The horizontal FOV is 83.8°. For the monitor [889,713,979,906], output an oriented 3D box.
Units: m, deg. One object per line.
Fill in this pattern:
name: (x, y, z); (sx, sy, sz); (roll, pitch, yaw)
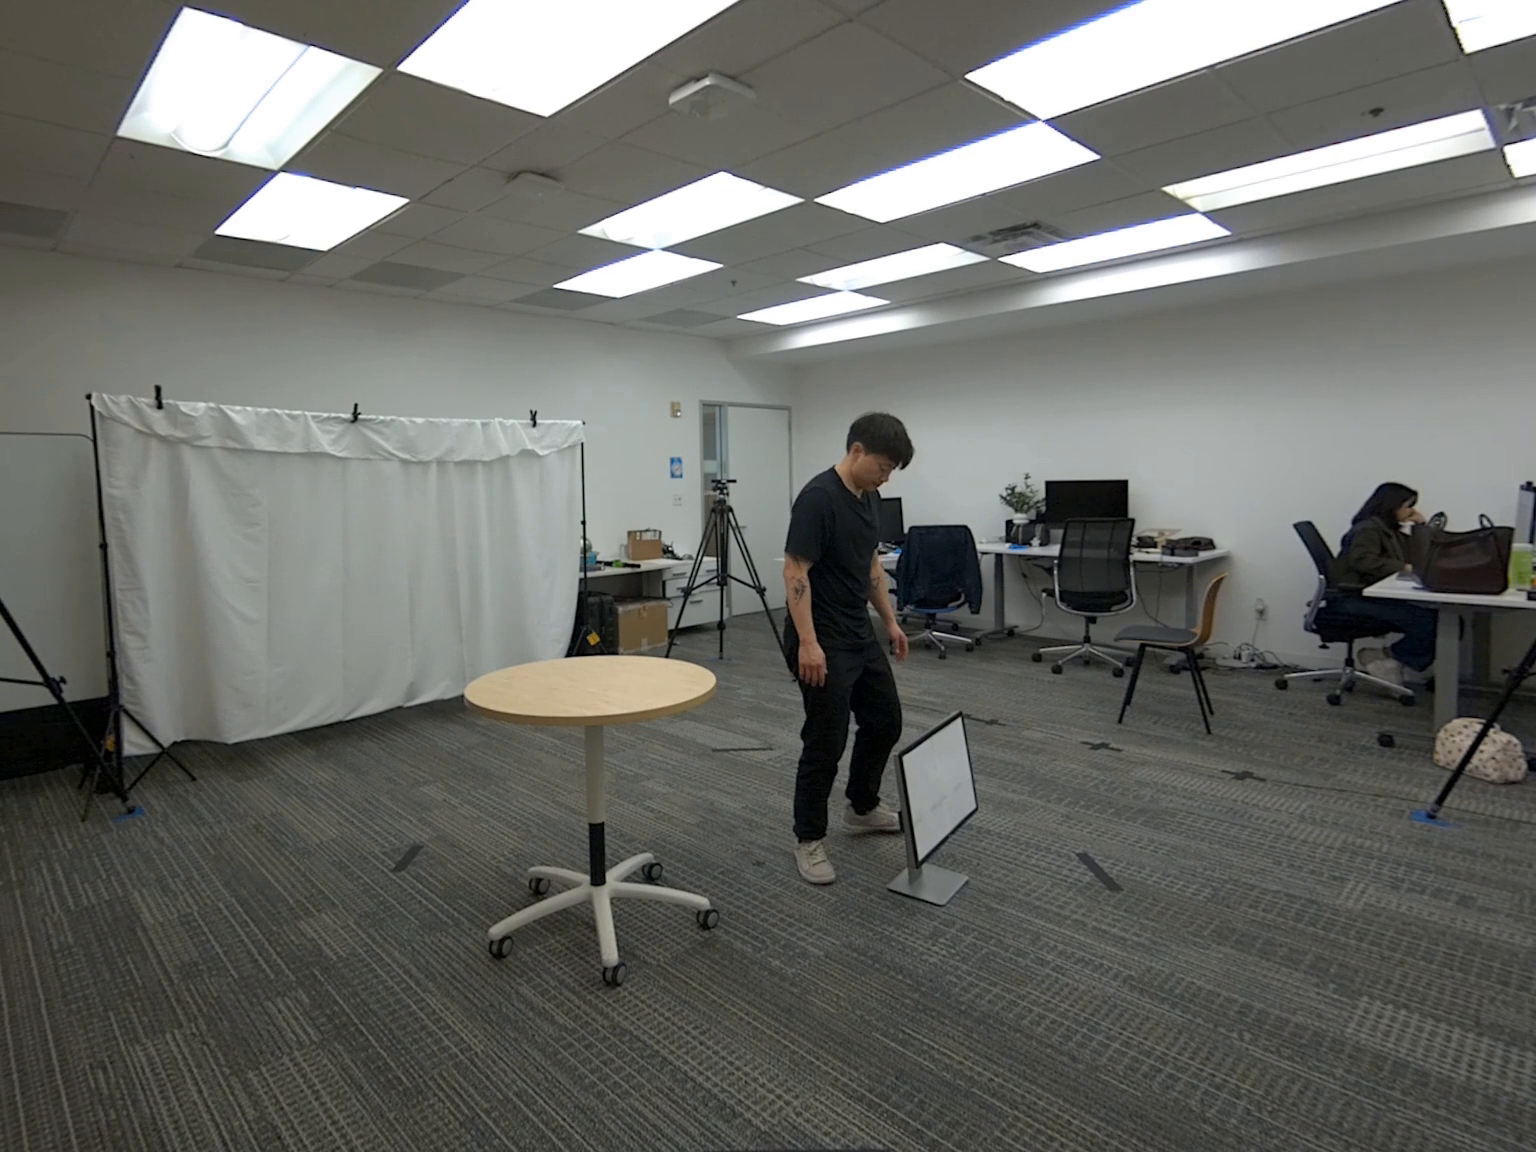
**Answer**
monitor: (0.549, 0.796, 2.912); (0.192, 0.520, 0.527); (3, 7, 32)
